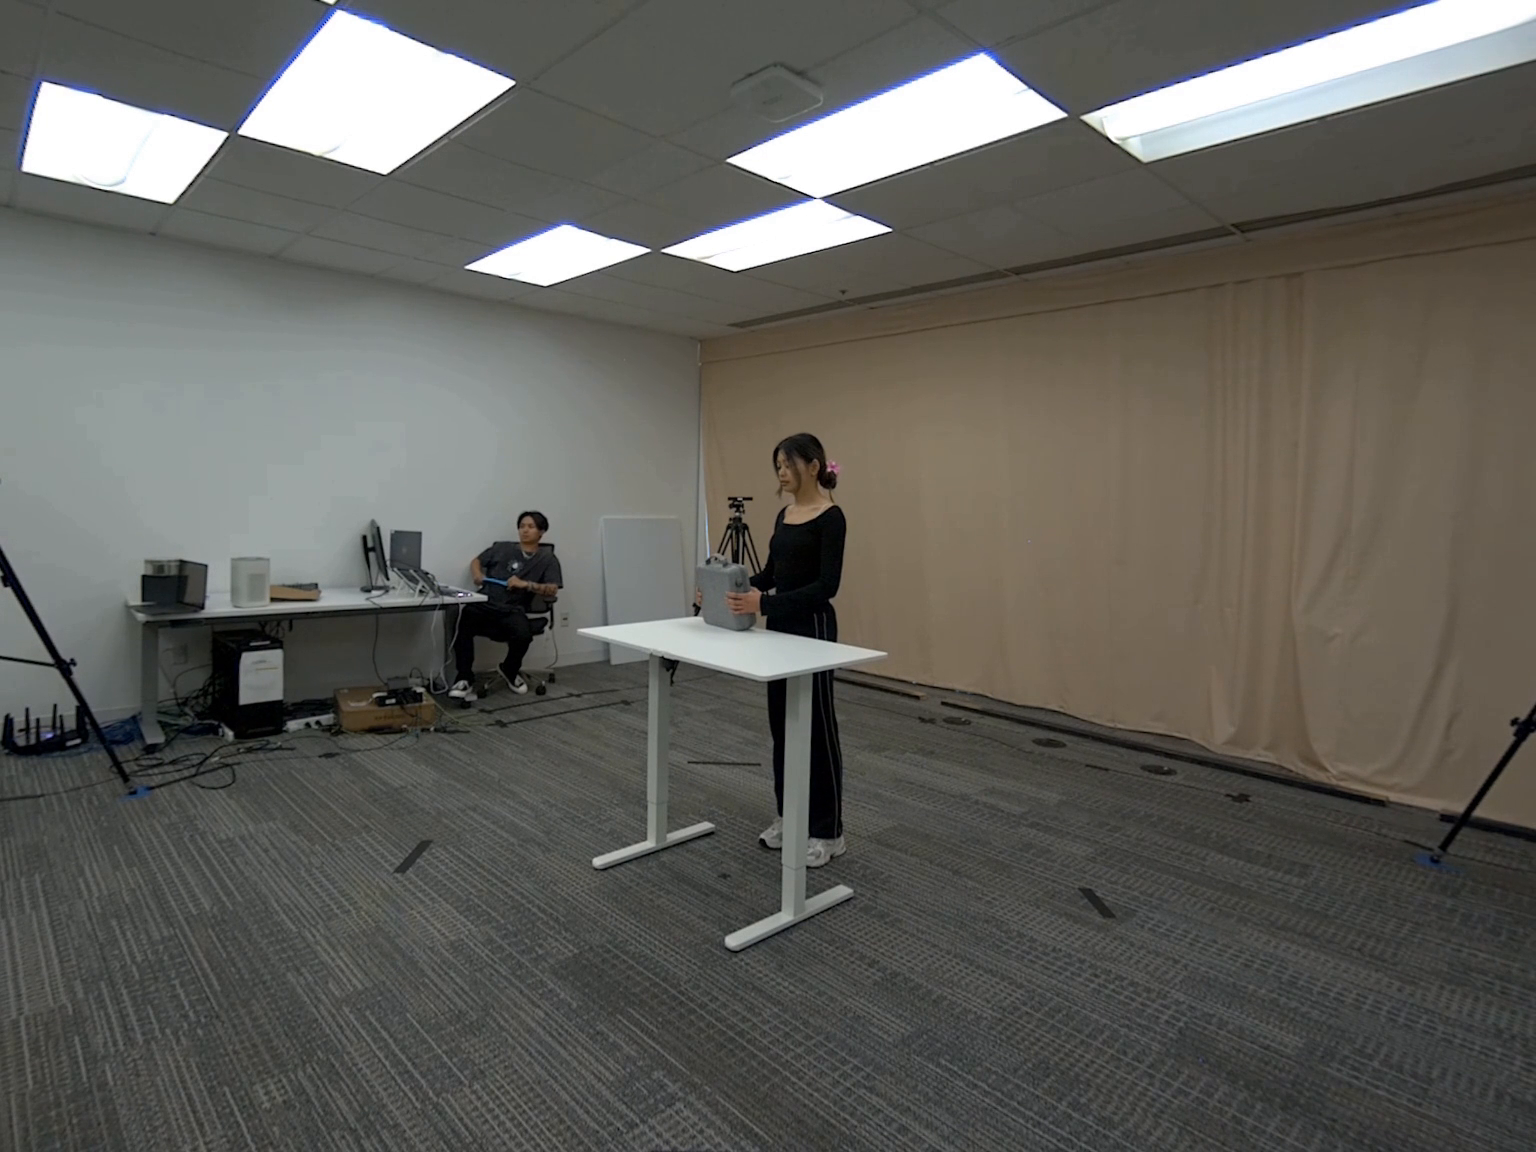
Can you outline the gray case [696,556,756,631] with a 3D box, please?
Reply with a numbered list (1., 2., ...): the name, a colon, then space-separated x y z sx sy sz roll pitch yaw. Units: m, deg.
1. gray case: -0.176 0.074 3.306 0.103 0.258 0.263 -17 14 -34
